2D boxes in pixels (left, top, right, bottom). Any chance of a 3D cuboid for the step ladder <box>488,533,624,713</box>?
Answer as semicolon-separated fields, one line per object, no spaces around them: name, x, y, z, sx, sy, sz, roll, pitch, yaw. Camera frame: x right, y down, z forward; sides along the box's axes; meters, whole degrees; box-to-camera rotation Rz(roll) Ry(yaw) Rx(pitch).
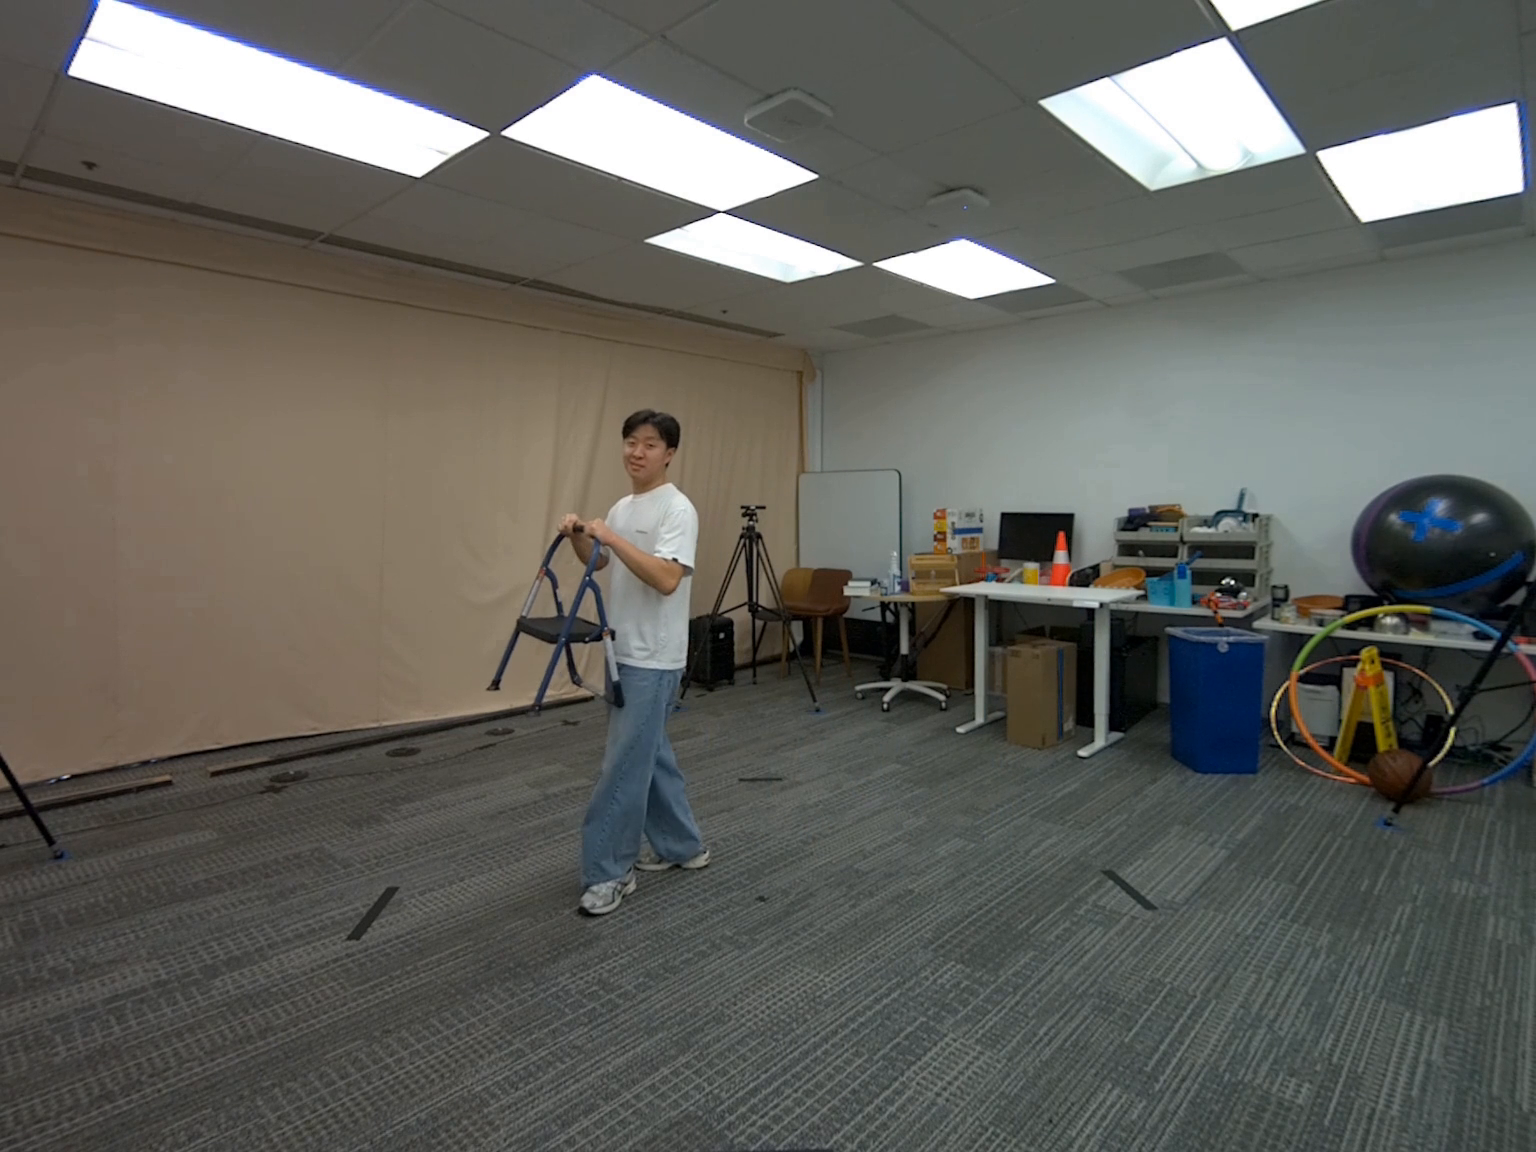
step ladder;-0.725;0.127;2.937;0.338;0.605;0.444;3;2;-36
